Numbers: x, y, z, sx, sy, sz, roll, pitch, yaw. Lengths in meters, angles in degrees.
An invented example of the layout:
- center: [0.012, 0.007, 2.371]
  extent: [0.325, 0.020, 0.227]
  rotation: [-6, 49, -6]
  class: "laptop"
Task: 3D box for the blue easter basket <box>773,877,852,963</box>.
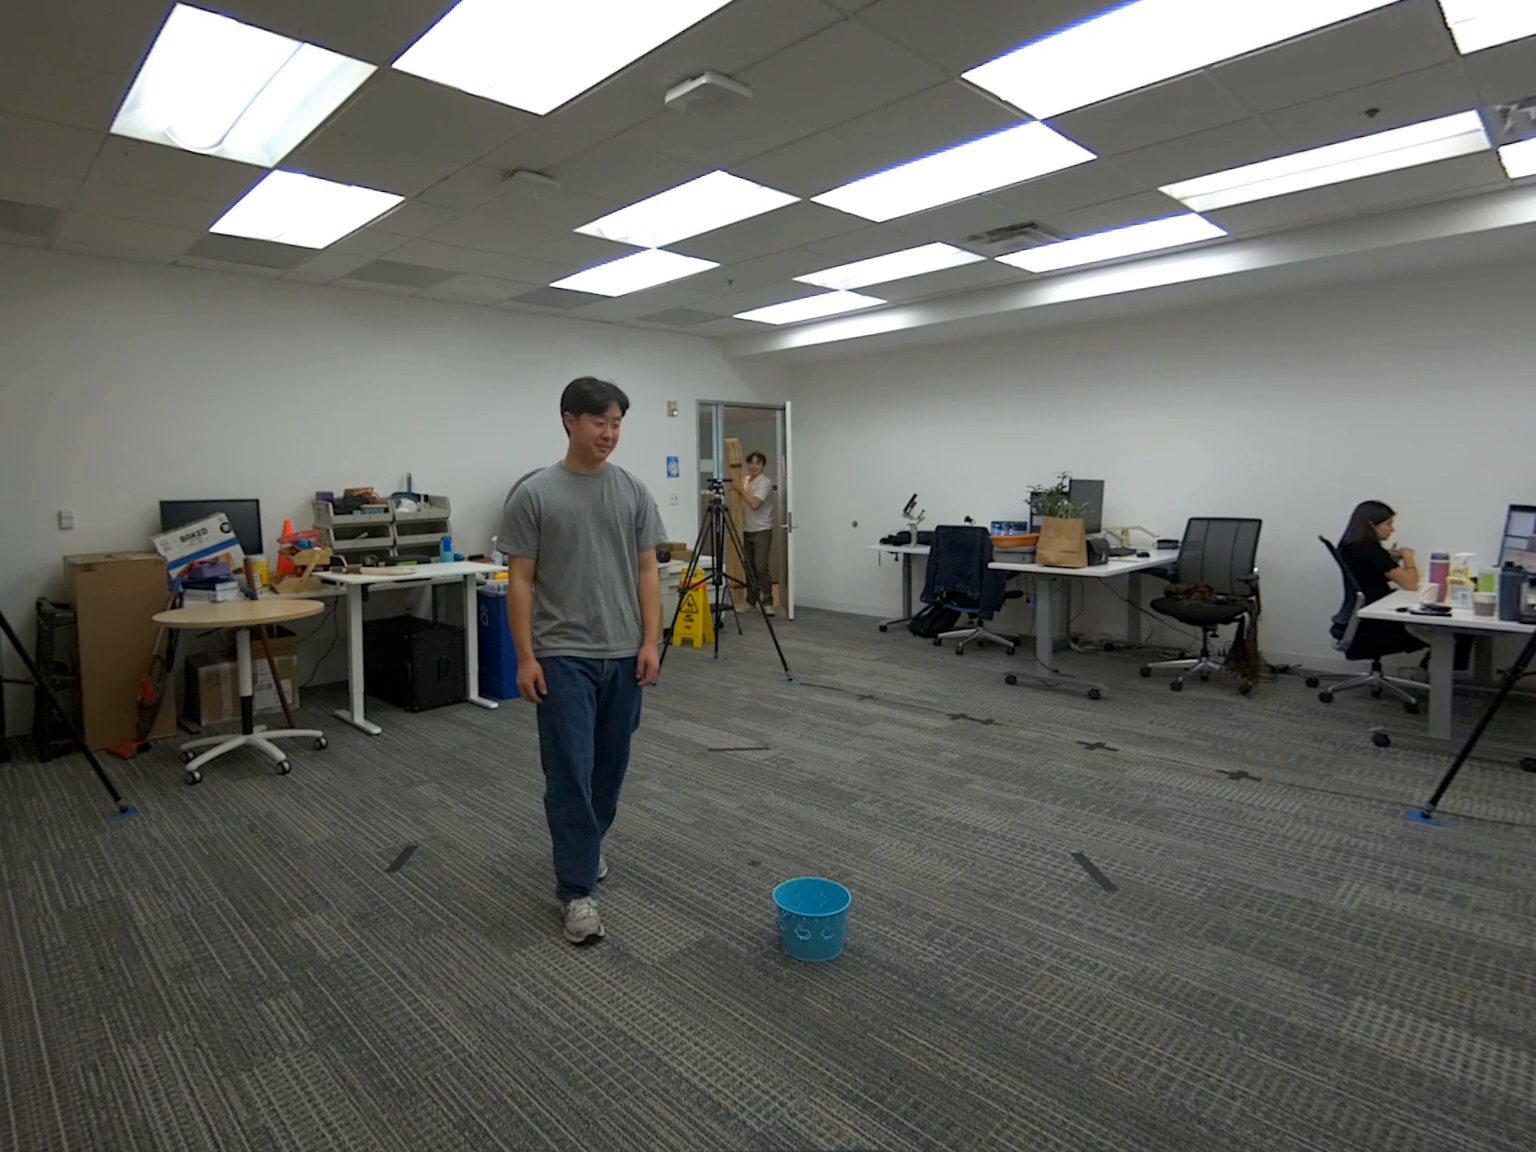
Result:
- center: [0.132, 1.021, 2.558]
  extent: [0.243, 0.155, 0.245]
  rotation: [-1, 6, -2]
  class: "blue easter basket"
